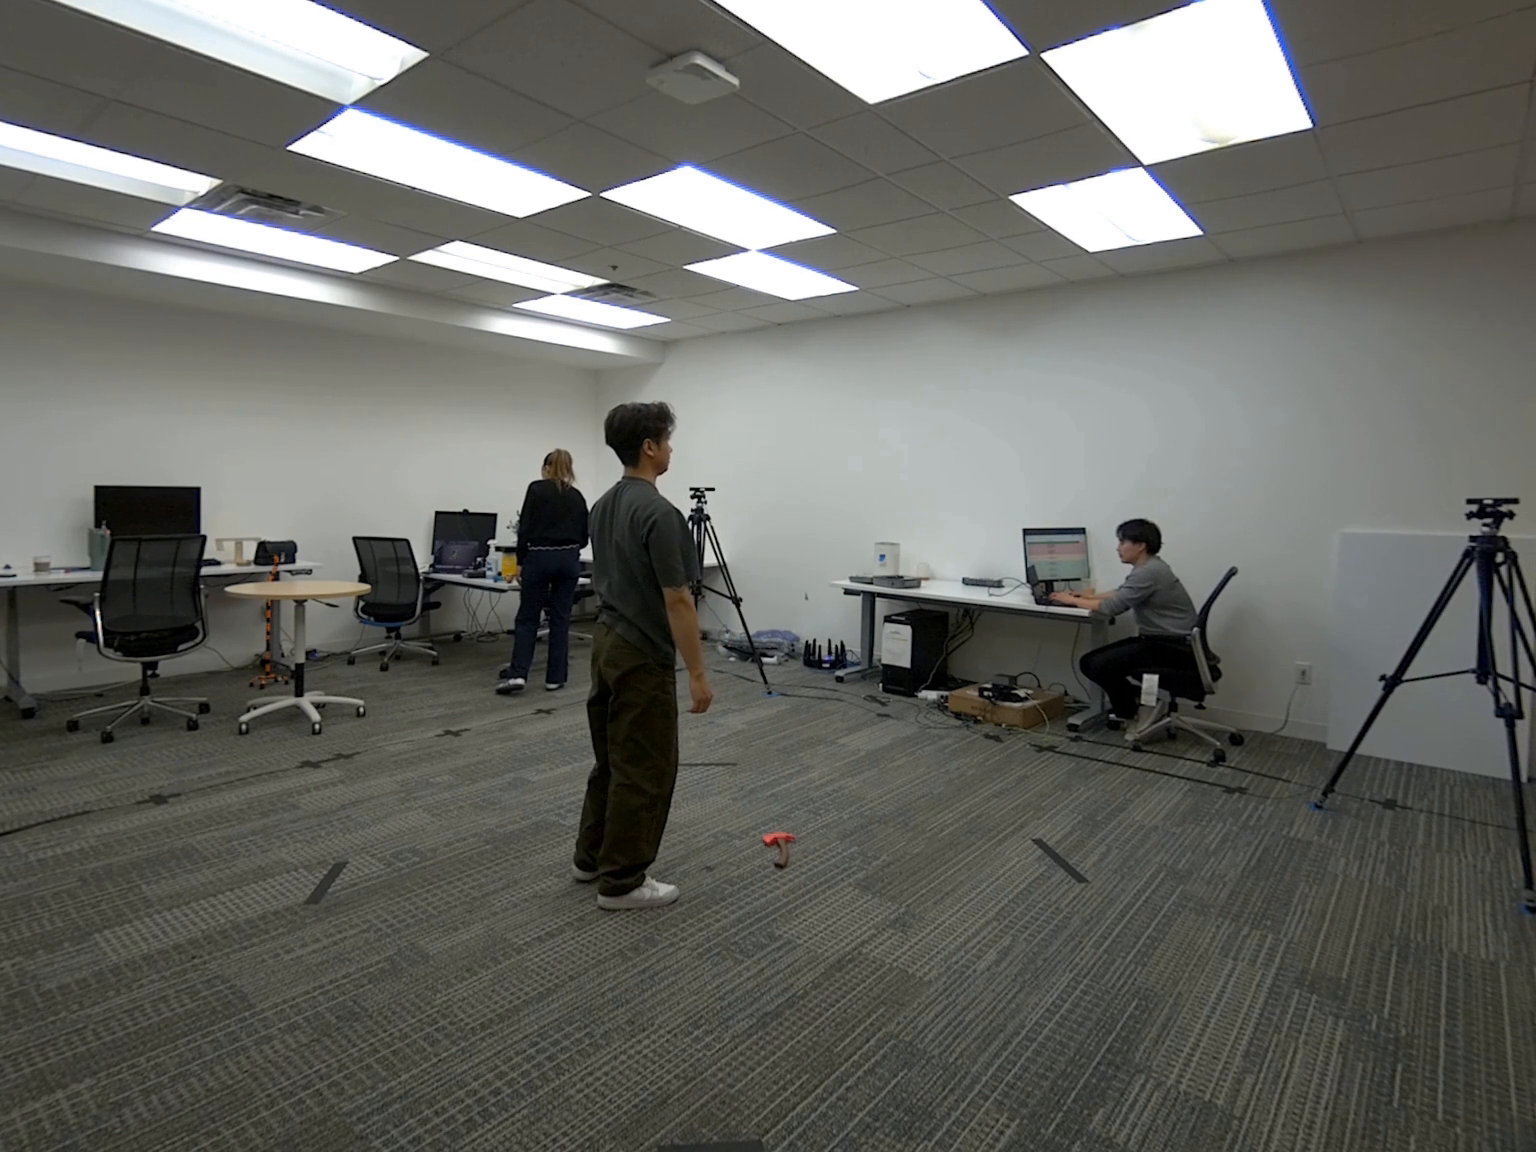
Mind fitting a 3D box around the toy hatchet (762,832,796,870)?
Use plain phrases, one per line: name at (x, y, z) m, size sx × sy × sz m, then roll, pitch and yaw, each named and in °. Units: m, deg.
toy hatchet at (0.015, 1.042, 3.259) m, size 0.133 × 0.029 × 0.267 m, roll 3°, pitch 7°, yaw 12°
